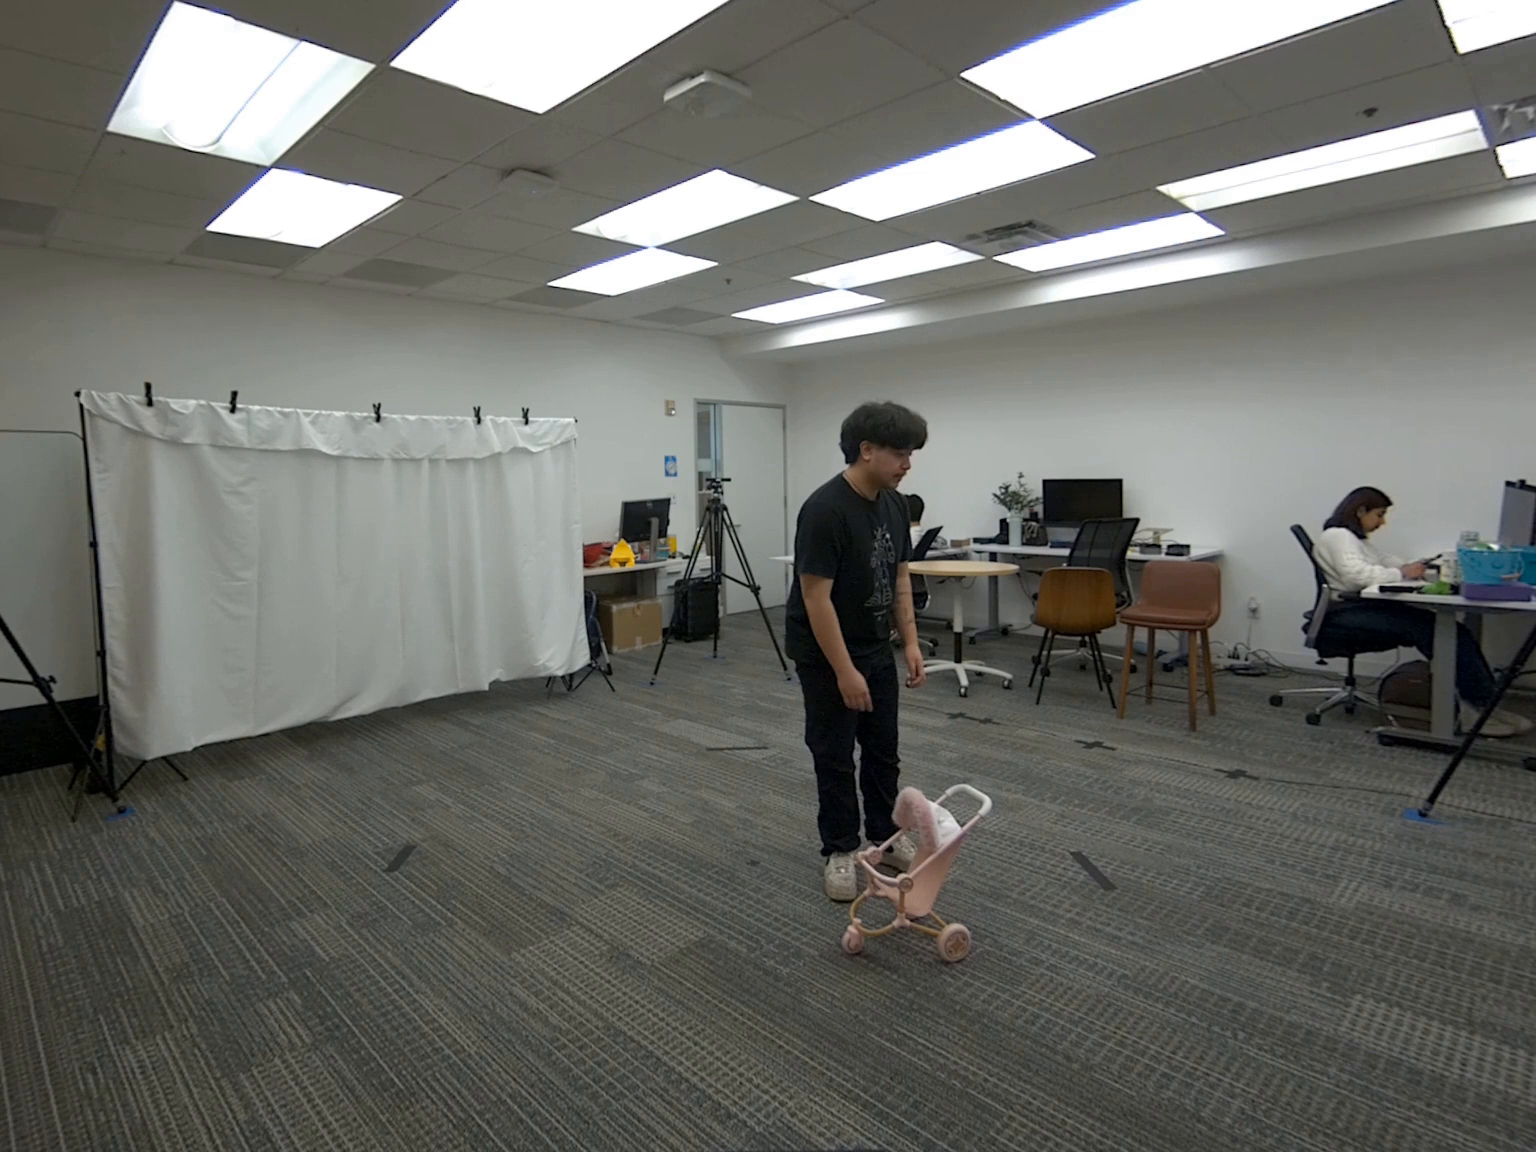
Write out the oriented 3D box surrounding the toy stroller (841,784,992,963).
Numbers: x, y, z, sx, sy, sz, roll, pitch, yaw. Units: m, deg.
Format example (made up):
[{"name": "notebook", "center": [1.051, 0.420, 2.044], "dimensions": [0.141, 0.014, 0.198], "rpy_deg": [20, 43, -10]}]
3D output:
[{"name": "toy stroller", "center": [0.417, 0.876, 2.546], "dimensions": [0.336, 0.535, 0.286], "rpy_deg": [13, 0, -14]}]
